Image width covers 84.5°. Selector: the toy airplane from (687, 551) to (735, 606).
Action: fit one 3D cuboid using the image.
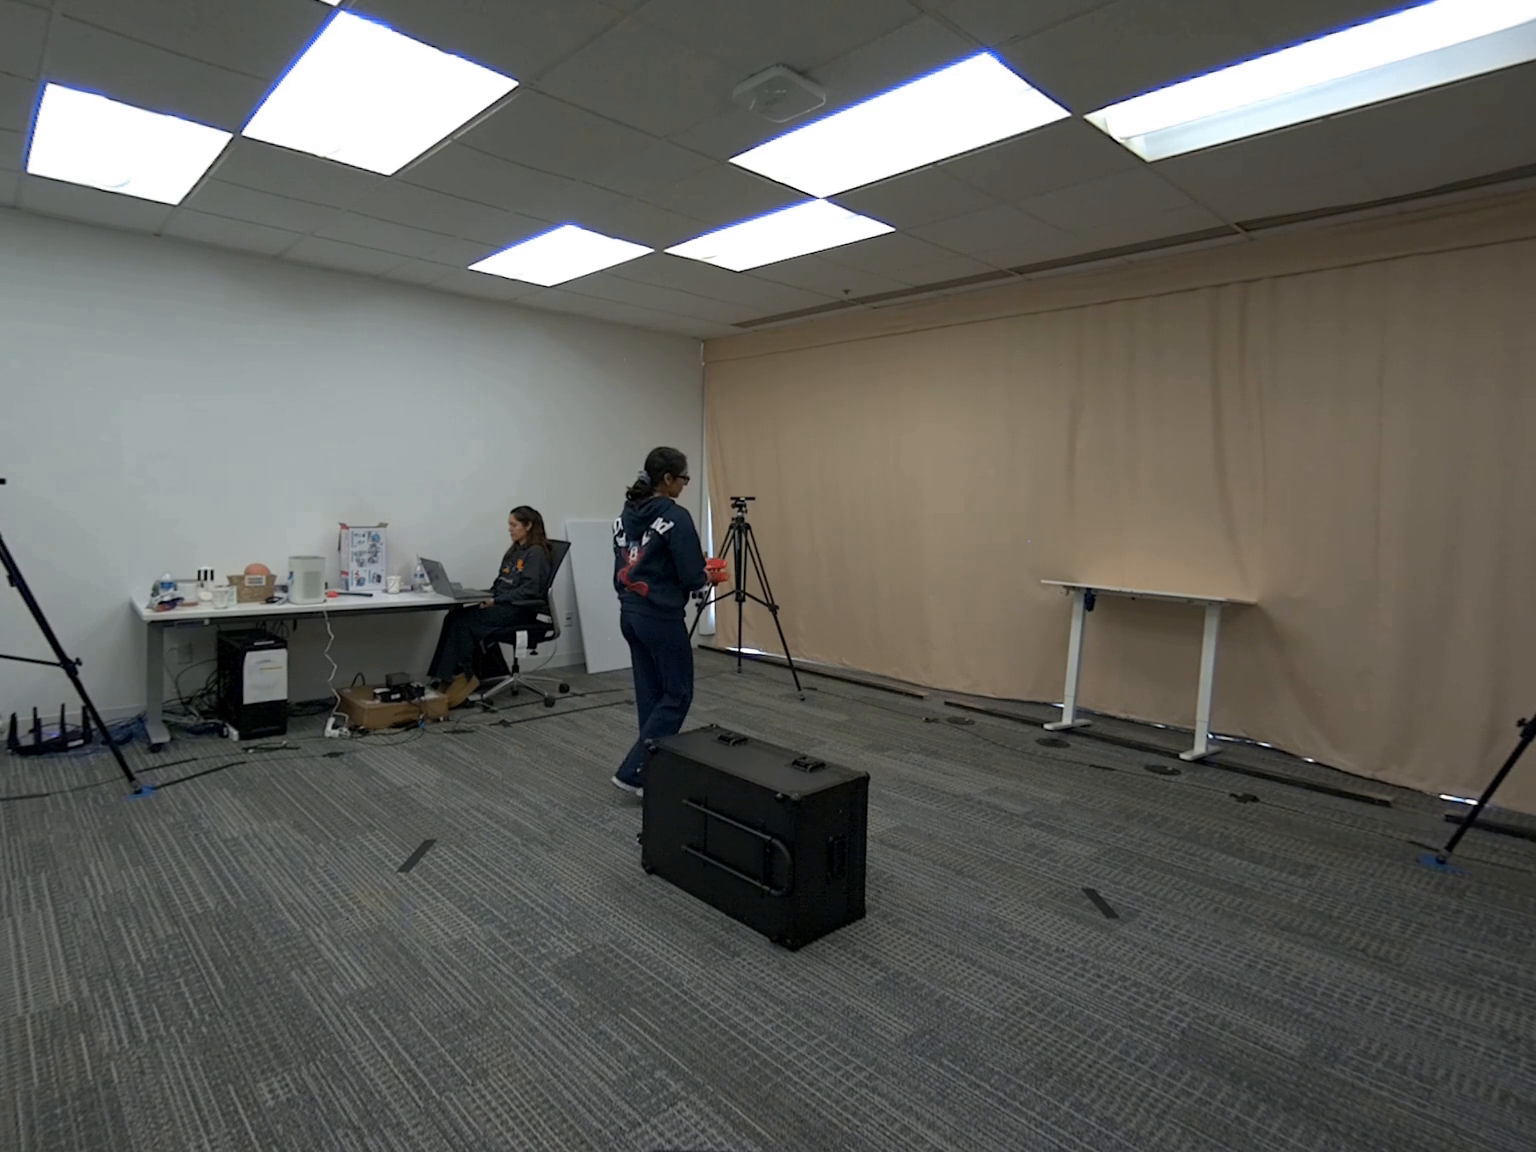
[{"bbox_3d":[-0.331,0.009,4.131,0.249,0.154,0.265,-11,18,-14],"label":"toy airplane"}]
